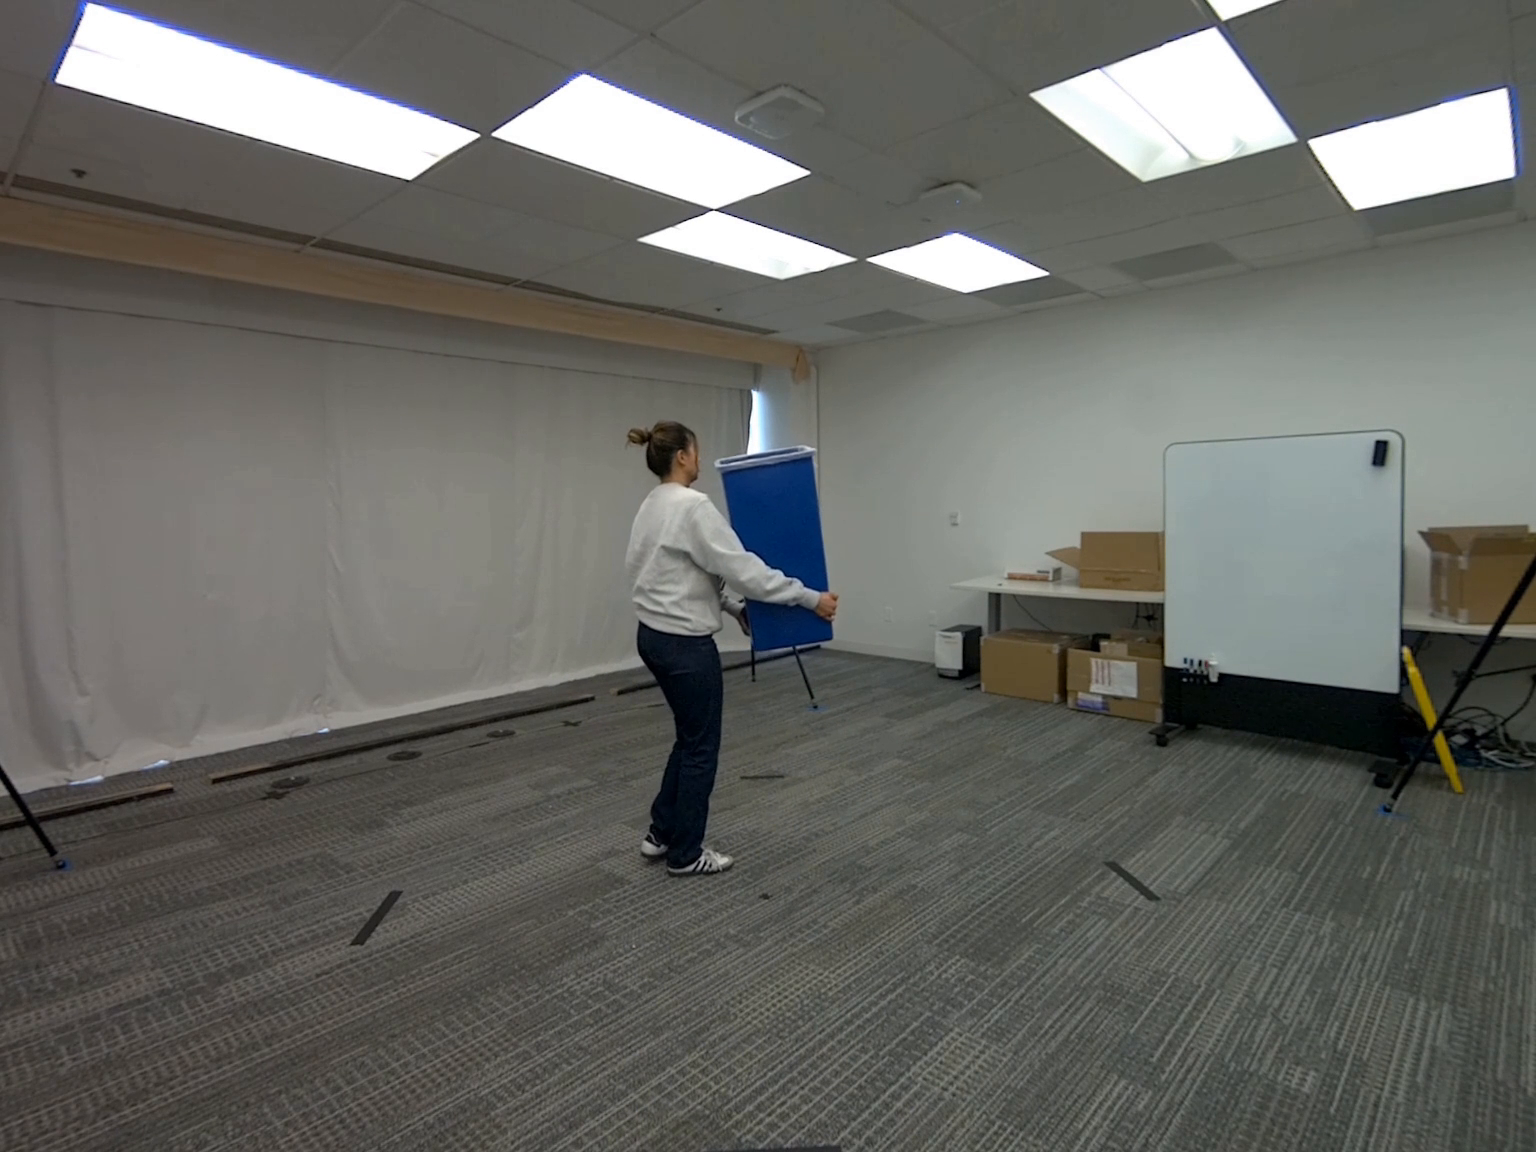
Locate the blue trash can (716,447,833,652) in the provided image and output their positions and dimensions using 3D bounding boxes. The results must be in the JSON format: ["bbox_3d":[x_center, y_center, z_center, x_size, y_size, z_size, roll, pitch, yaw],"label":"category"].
[{"bbox_3d":[0.029,-0.116,3.229,0.374,0.709,0.380,-8,8,0],"label":"blue trash can"}]
